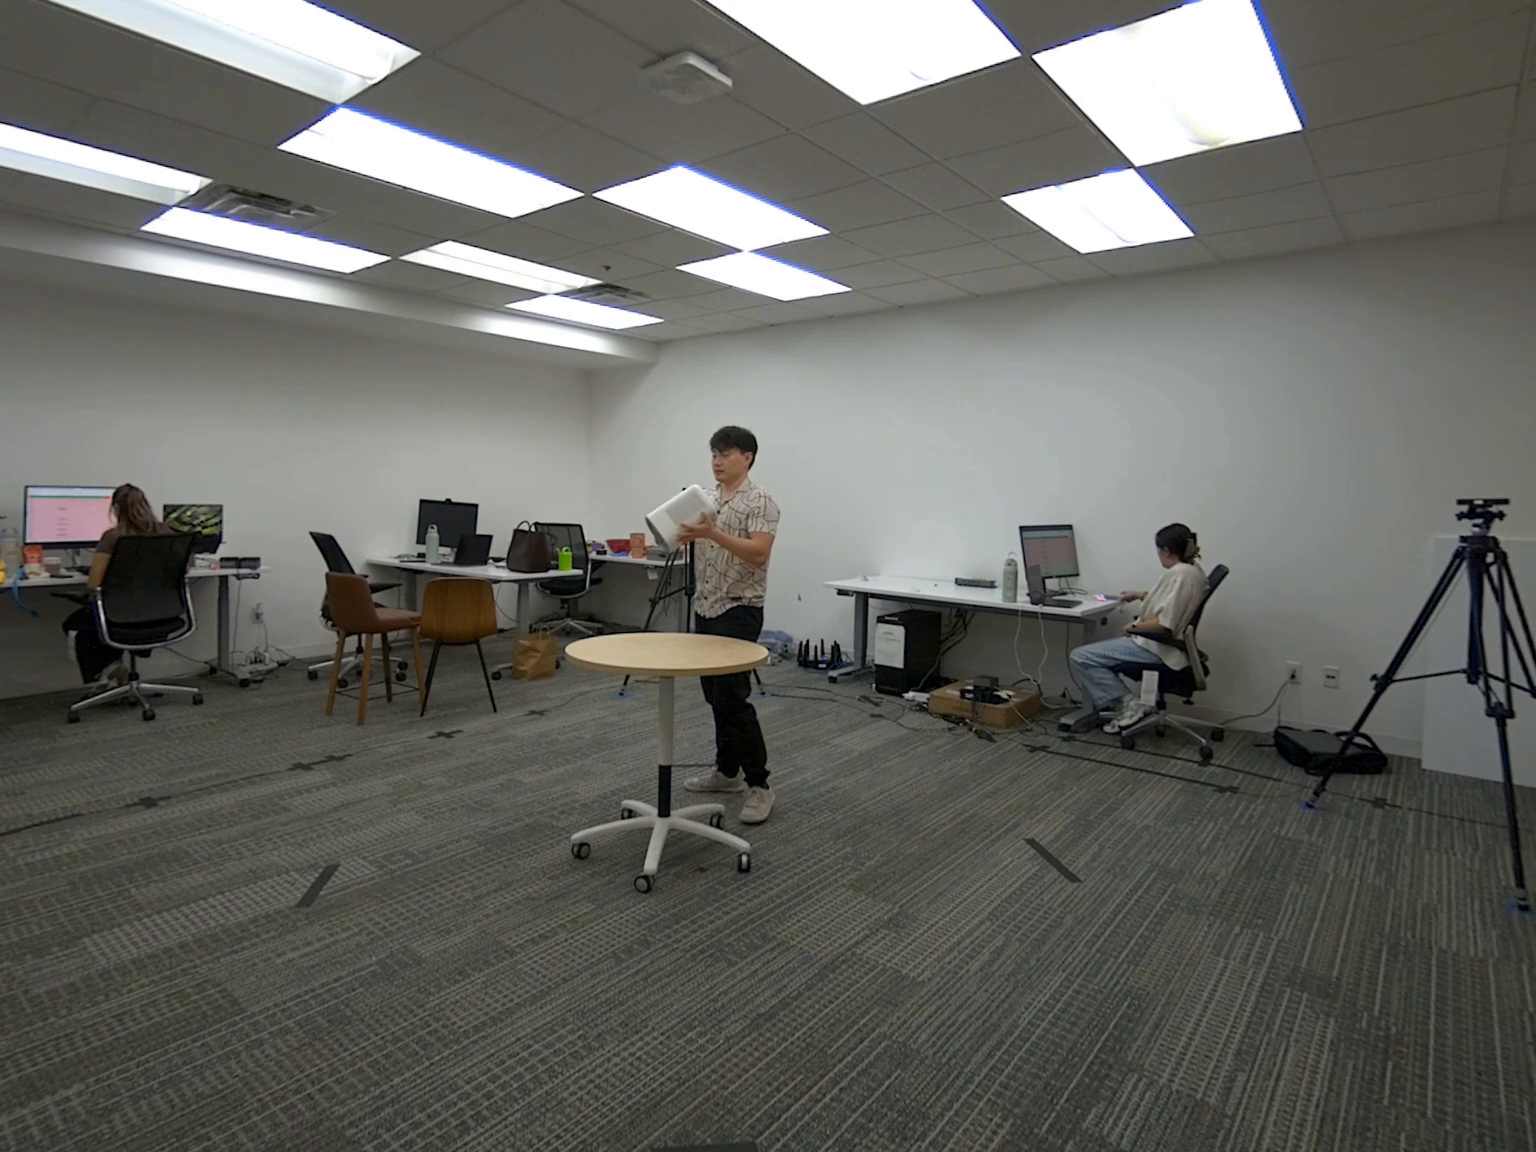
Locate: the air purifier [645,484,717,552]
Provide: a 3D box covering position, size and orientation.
[{"bbox_3d":[-0.371,-0.249,3.580,0.264,0.175,0.168,-35,-14,-10],"label":"air purifier"}]
